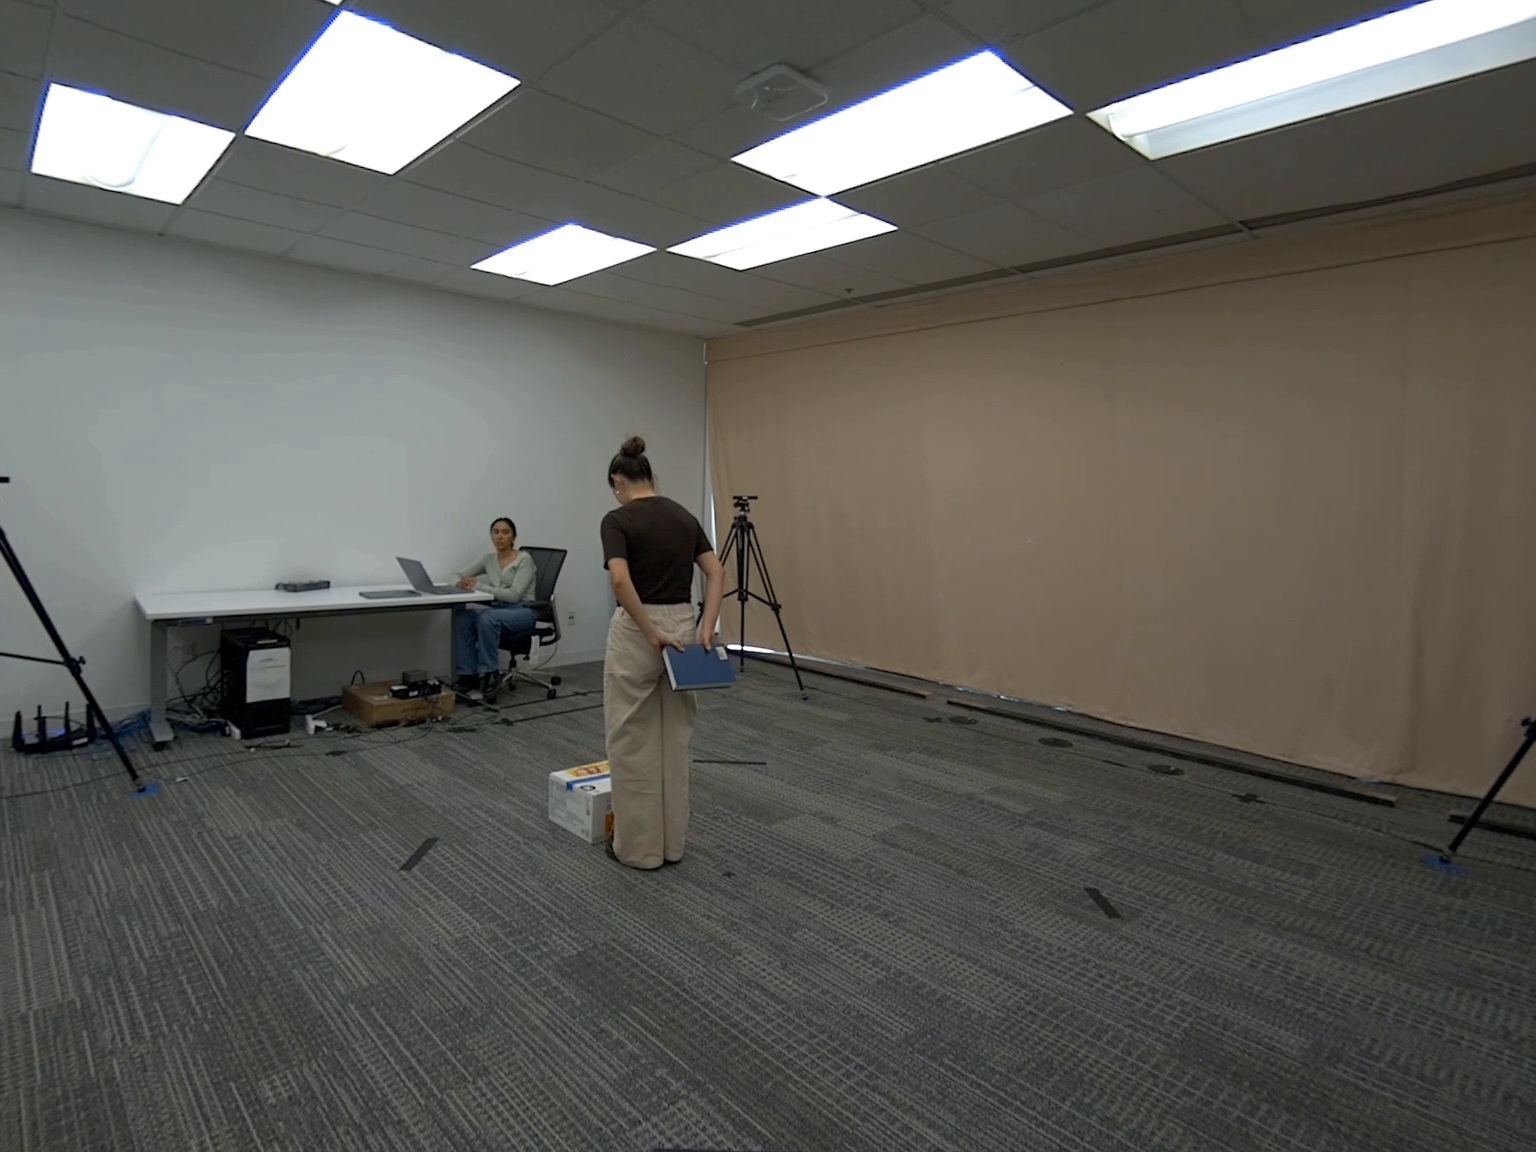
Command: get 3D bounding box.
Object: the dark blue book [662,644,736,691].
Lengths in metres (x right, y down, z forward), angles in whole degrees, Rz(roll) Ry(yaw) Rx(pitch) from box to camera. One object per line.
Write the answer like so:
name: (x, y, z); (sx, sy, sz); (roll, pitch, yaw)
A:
dark blue book: (-0.250, 0.328, 3.013); (0.240, 0.167, 0.045); (-2, -36, -34)
